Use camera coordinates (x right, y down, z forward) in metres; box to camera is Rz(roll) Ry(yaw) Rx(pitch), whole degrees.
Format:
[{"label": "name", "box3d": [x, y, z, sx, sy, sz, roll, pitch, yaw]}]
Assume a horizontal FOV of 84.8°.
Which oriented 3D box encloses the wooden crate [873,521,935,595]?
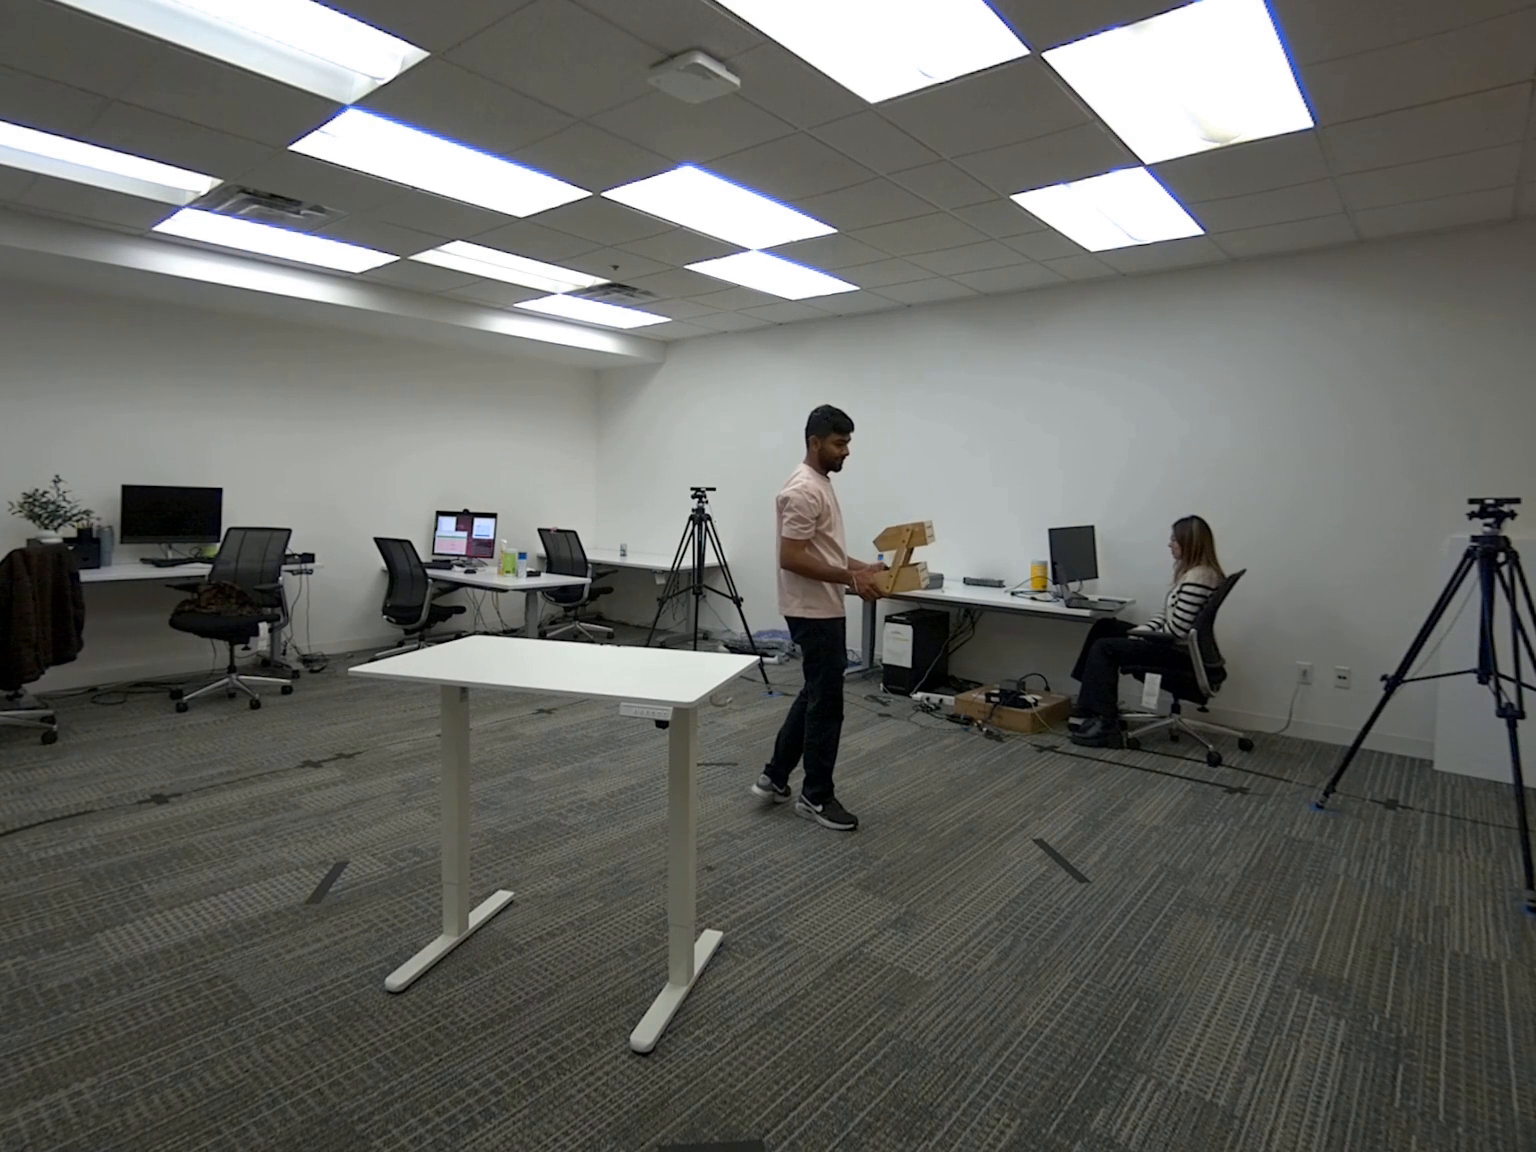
[{"label": "wooden crate", "box3d": [0.505, -0.080, 3.490, 0.307, 0.273, 0.320, -10, 2, 17]}]
